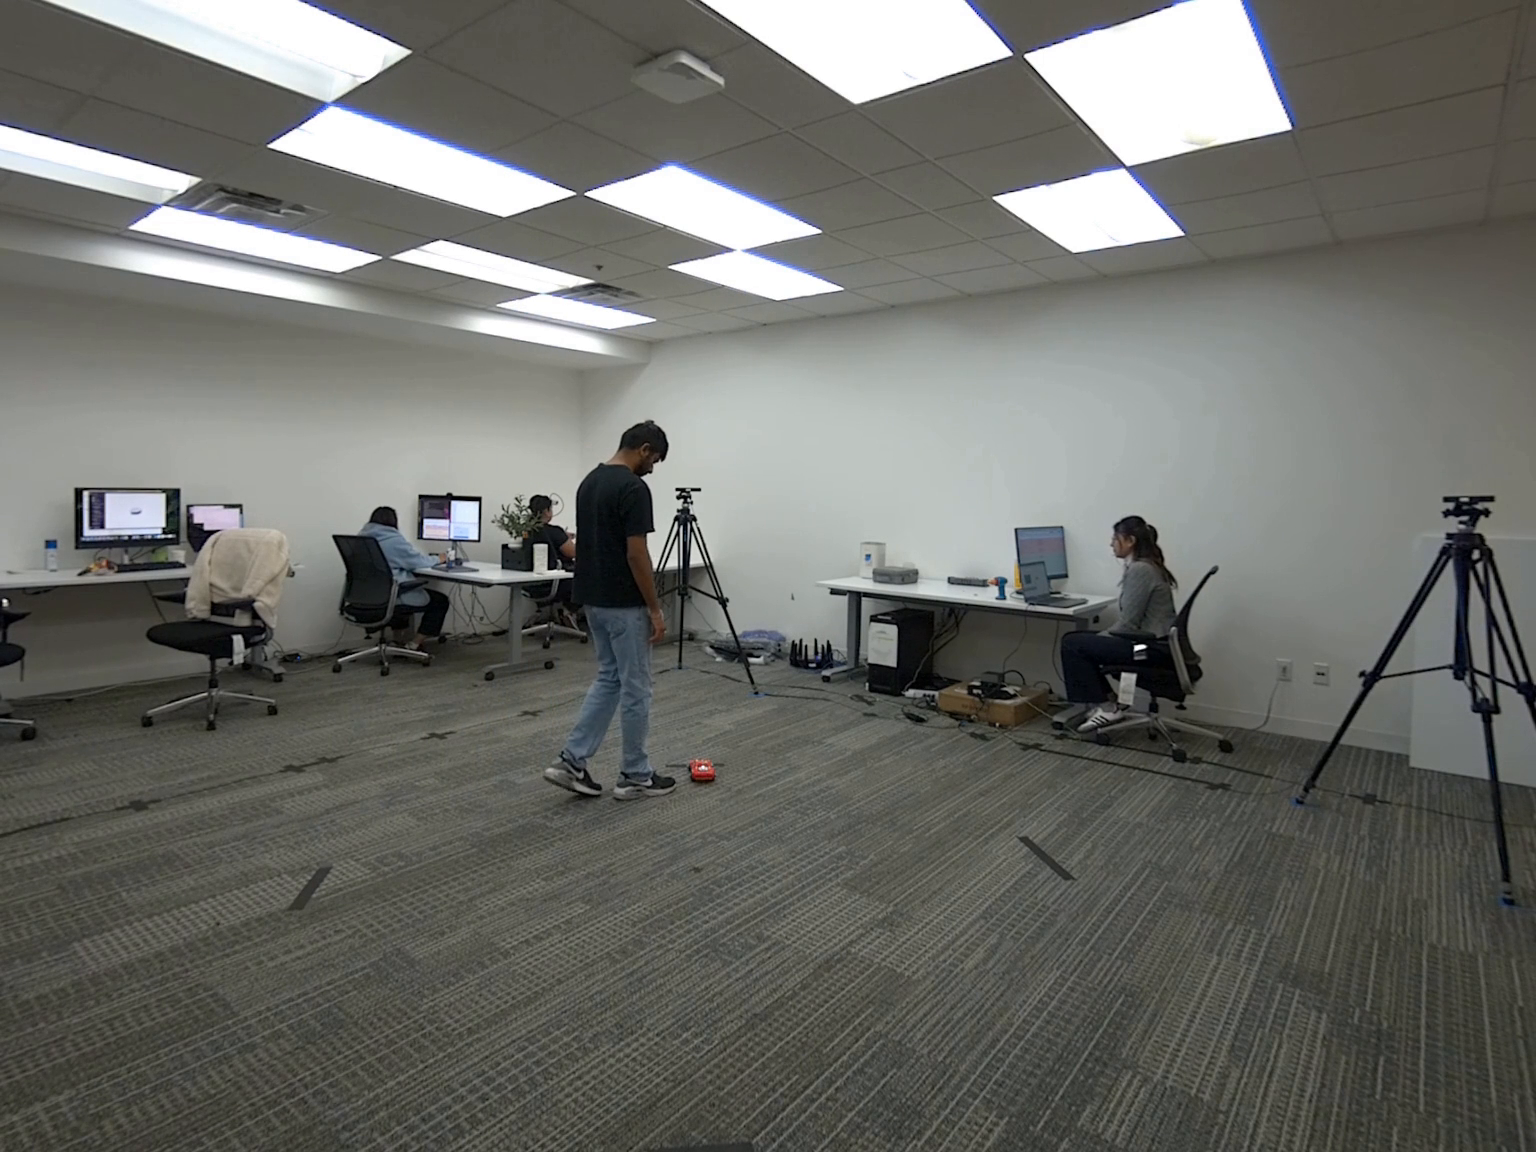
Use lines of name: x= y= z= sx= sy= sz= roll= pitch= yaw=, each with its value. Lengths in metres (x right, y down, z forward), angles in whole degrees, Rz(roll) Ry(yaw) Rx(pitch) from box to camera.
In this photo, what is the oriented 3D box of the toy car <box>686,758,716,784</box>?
toy car: x=-0.334 y=0.943 z=4.125 sx=0.129 sy=0.084 sz=0.254 roll=1 pitch=-5 yaw=-7
